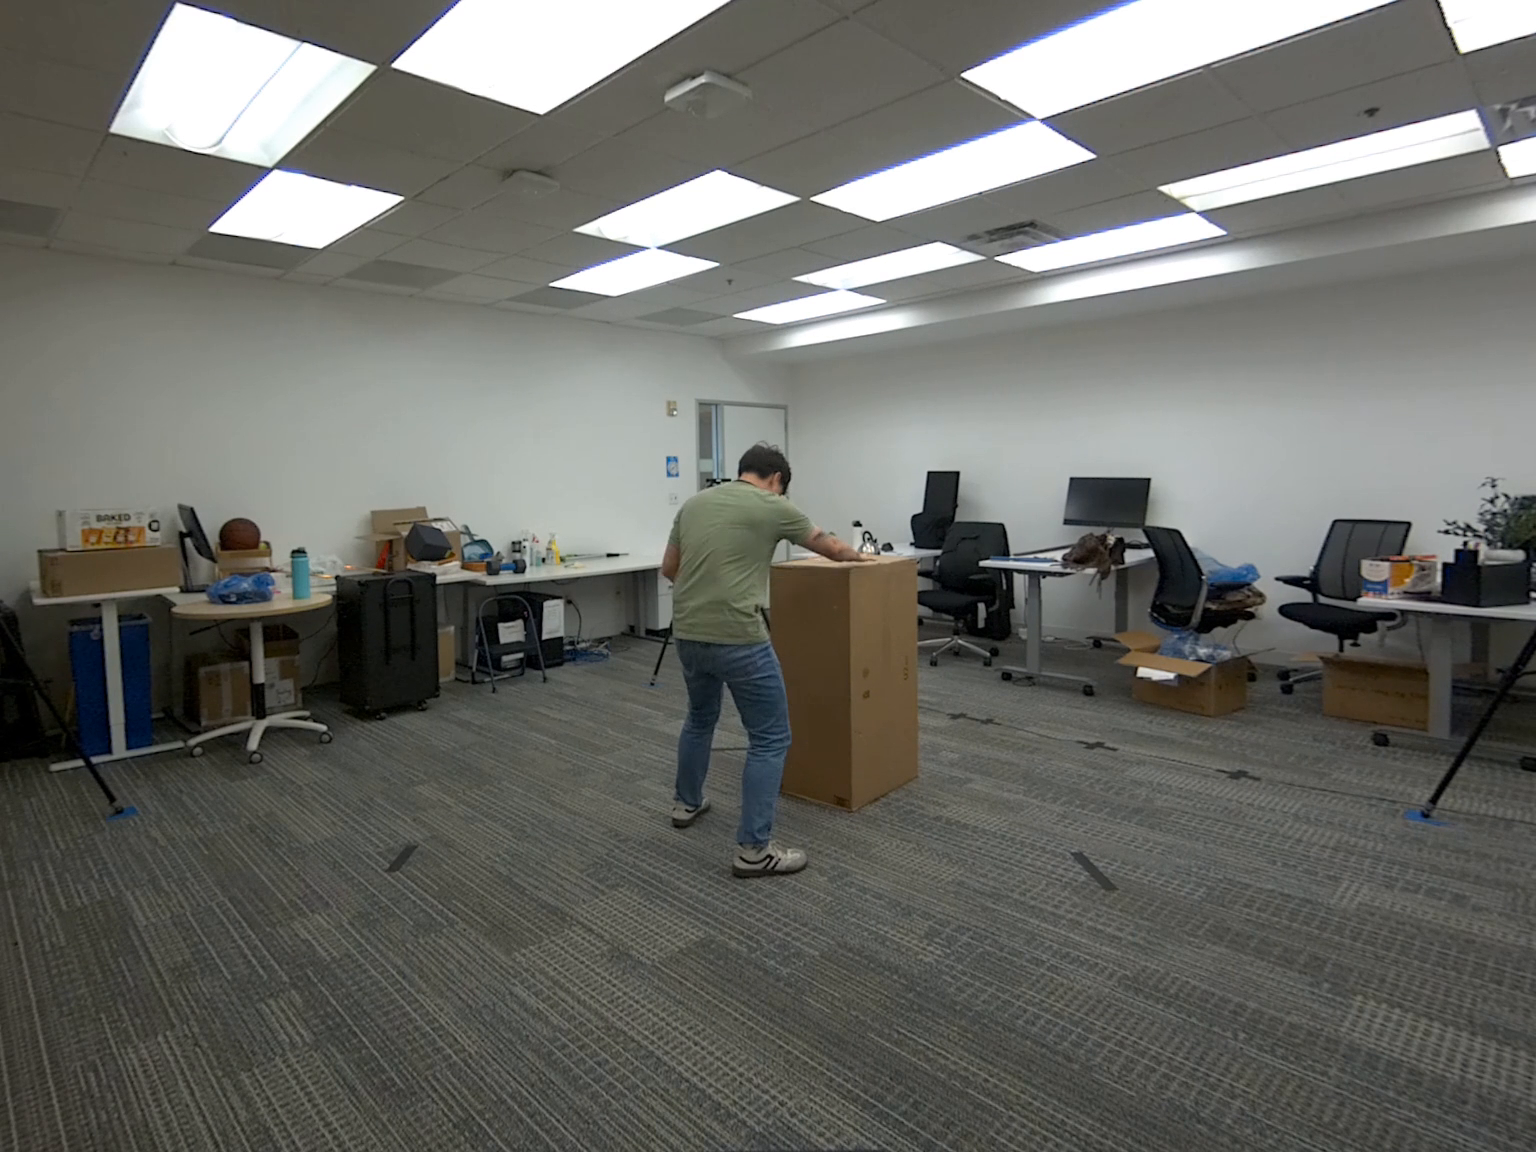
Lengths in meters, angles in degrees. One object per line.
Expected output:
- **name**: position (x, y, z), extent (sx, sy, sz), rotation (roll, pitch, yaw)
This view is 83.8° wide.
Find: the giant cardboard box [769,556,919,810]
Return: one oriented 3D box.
- **giant cardboard box**: position (0.352, 0.441, 3.880), extent (0.439, 1.022, 0.562), rotation (2, 5, 40)
